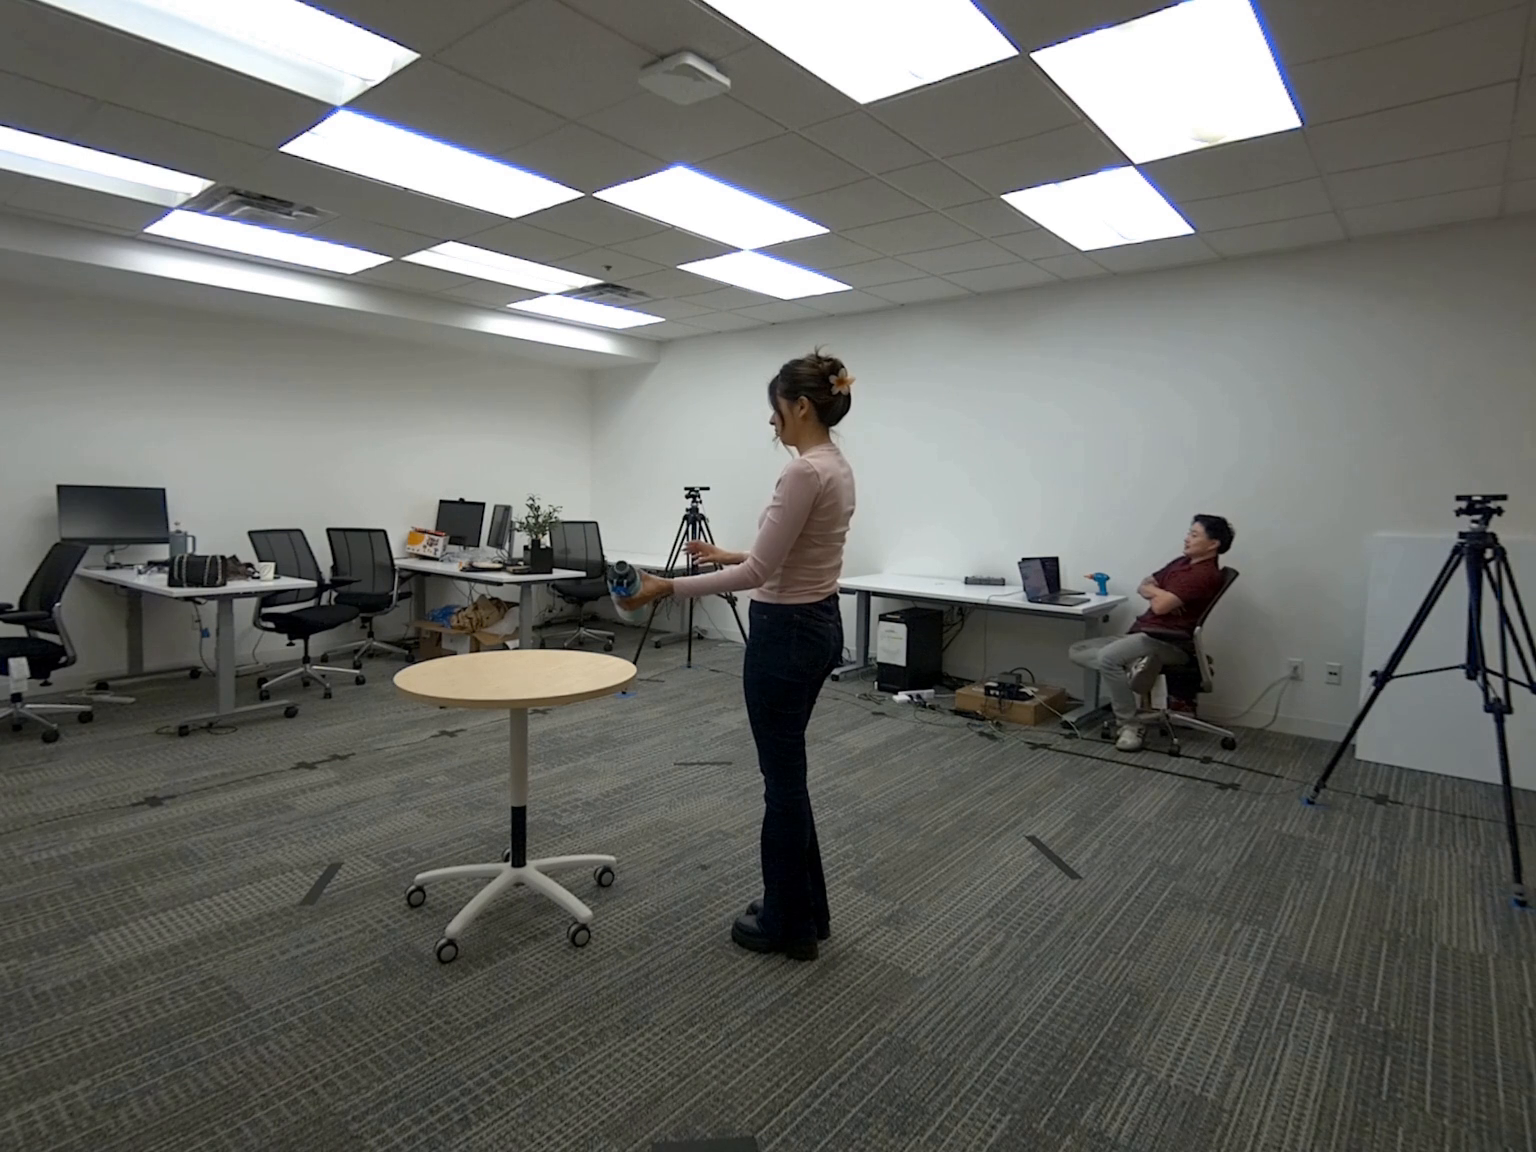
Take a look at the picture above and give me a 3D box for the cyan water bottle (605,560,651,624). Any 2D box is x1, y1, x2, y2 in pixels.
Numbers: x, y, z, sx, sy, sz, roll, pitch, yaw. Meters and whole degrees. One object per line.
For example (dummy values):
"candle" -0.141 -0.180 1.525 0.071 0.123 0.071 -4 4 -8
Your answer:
"cyan water bottle" -0.412 0.025 2.396 0.092 0.094 0.278 1 -21 -1
